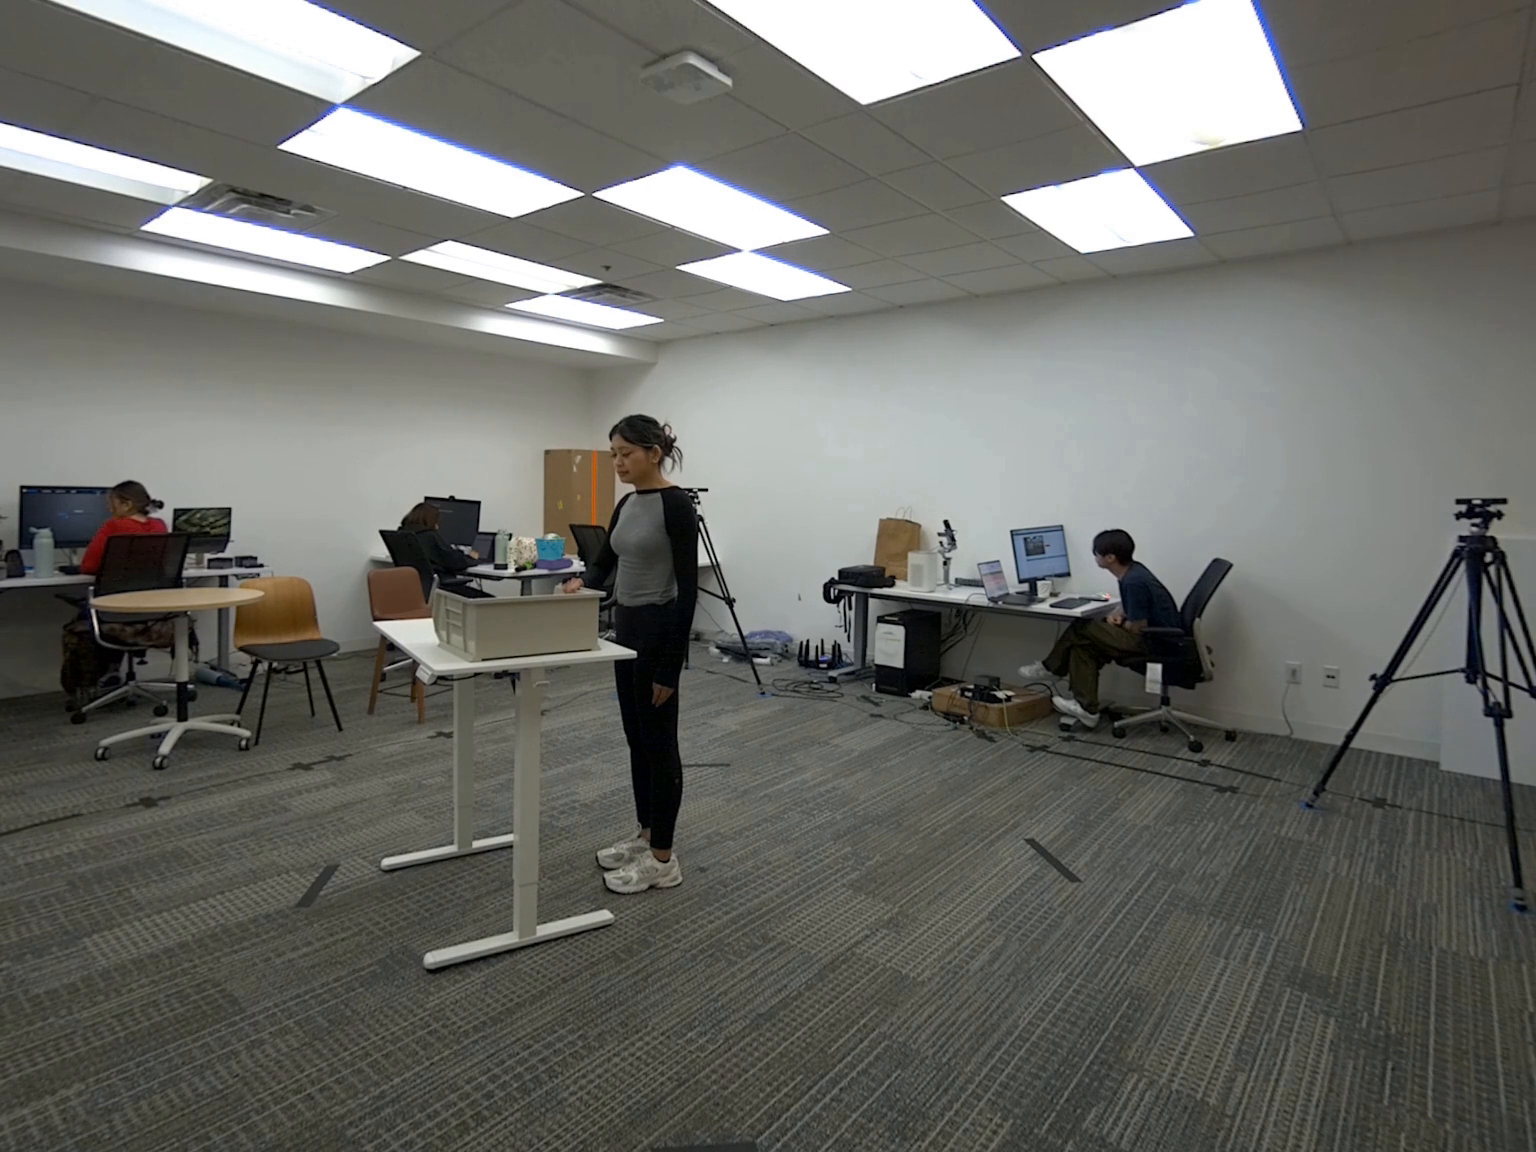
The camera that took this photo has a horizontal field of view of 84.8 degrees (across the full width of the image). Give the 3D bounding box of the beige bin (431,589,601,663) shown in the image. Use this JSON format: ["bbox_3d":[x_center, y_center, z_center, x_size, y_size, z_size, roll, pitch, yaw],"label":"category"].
[{"bbox_3d":[-0.790,0.135,2.646,0.410,0.188,0.390,-2,7,-36],"label":"beige bin"}]
